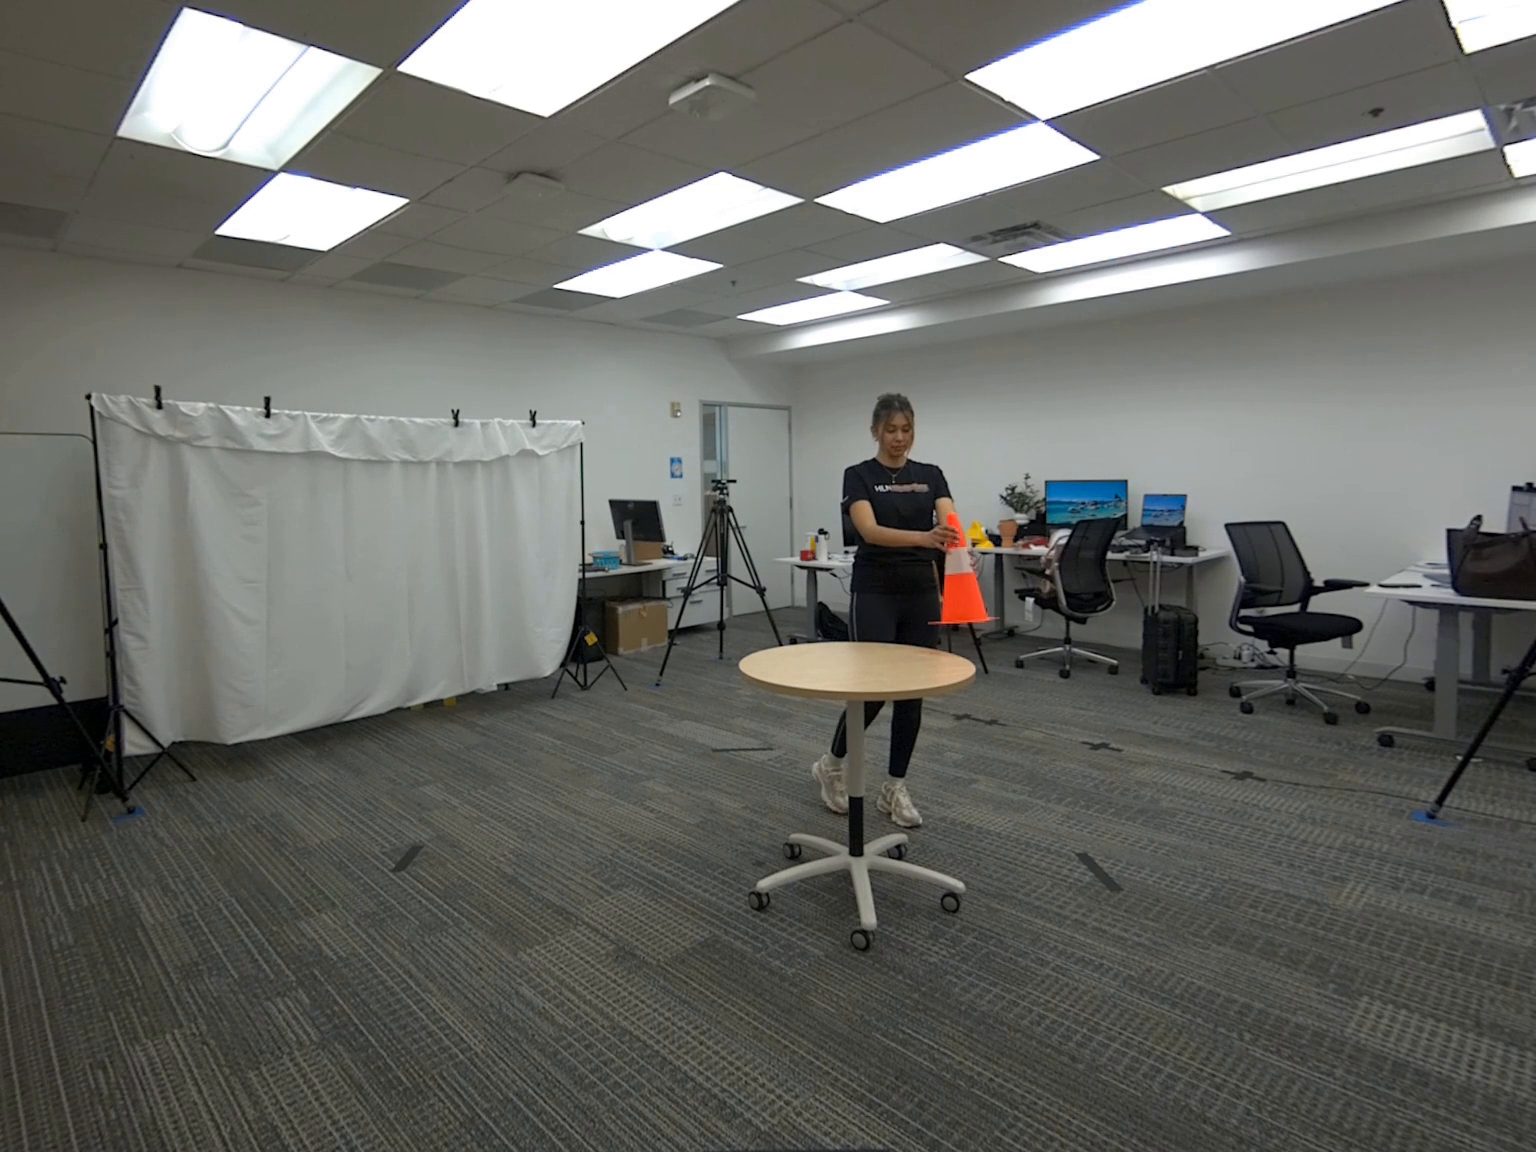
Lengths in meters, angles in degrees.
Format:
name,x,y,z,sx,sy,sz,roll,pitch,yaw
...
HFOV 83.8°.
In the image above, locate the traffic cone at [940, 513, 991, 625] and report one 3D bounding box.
name,x,y,z,sx,sy,sz,roll,pitch,yaw
traffic cone,0.677,-0.027,3.020,0.208,0.385,0.200,-5,-3,30
